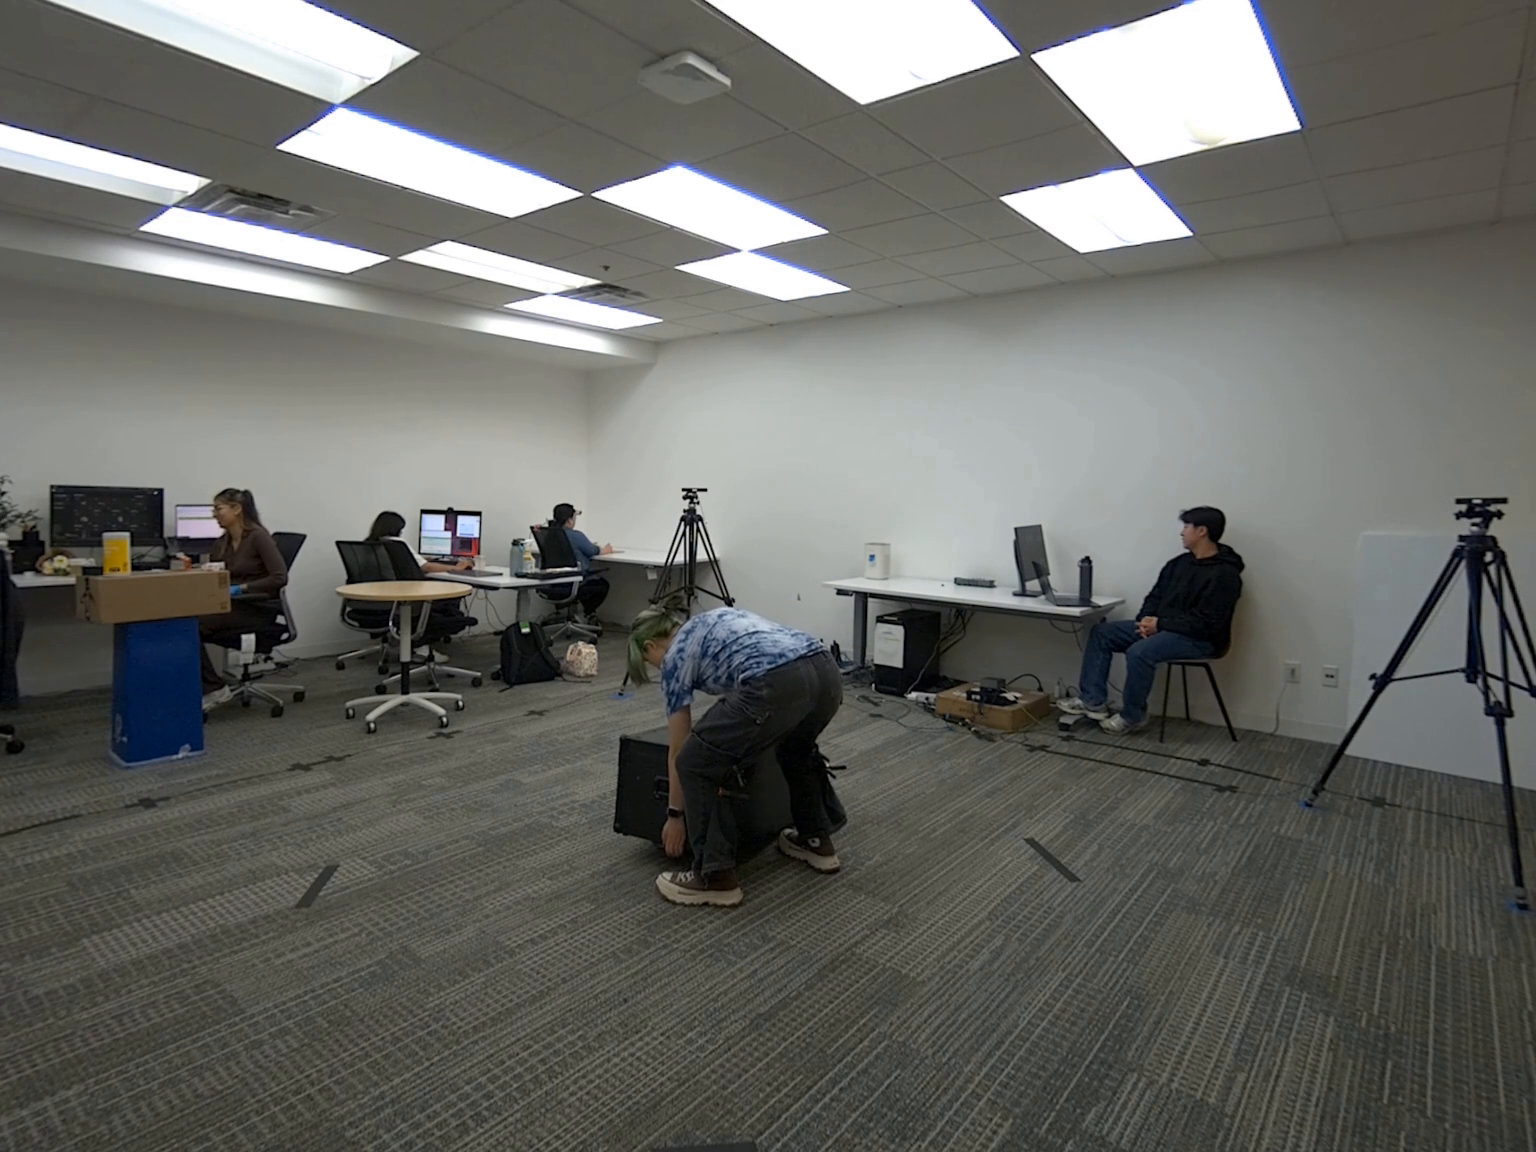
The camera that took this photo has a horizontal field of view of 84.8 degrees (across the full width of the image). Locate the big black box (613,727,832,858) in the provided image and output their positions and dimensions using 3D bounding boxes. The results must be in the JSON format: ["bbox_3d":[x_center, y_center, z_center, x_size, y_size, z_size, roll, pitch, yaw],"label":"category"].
[{"bbox_3d":[-0.187,0.818,3.452,0.536,0.396,0.838,3,1,27],"label":"big black box"}]
